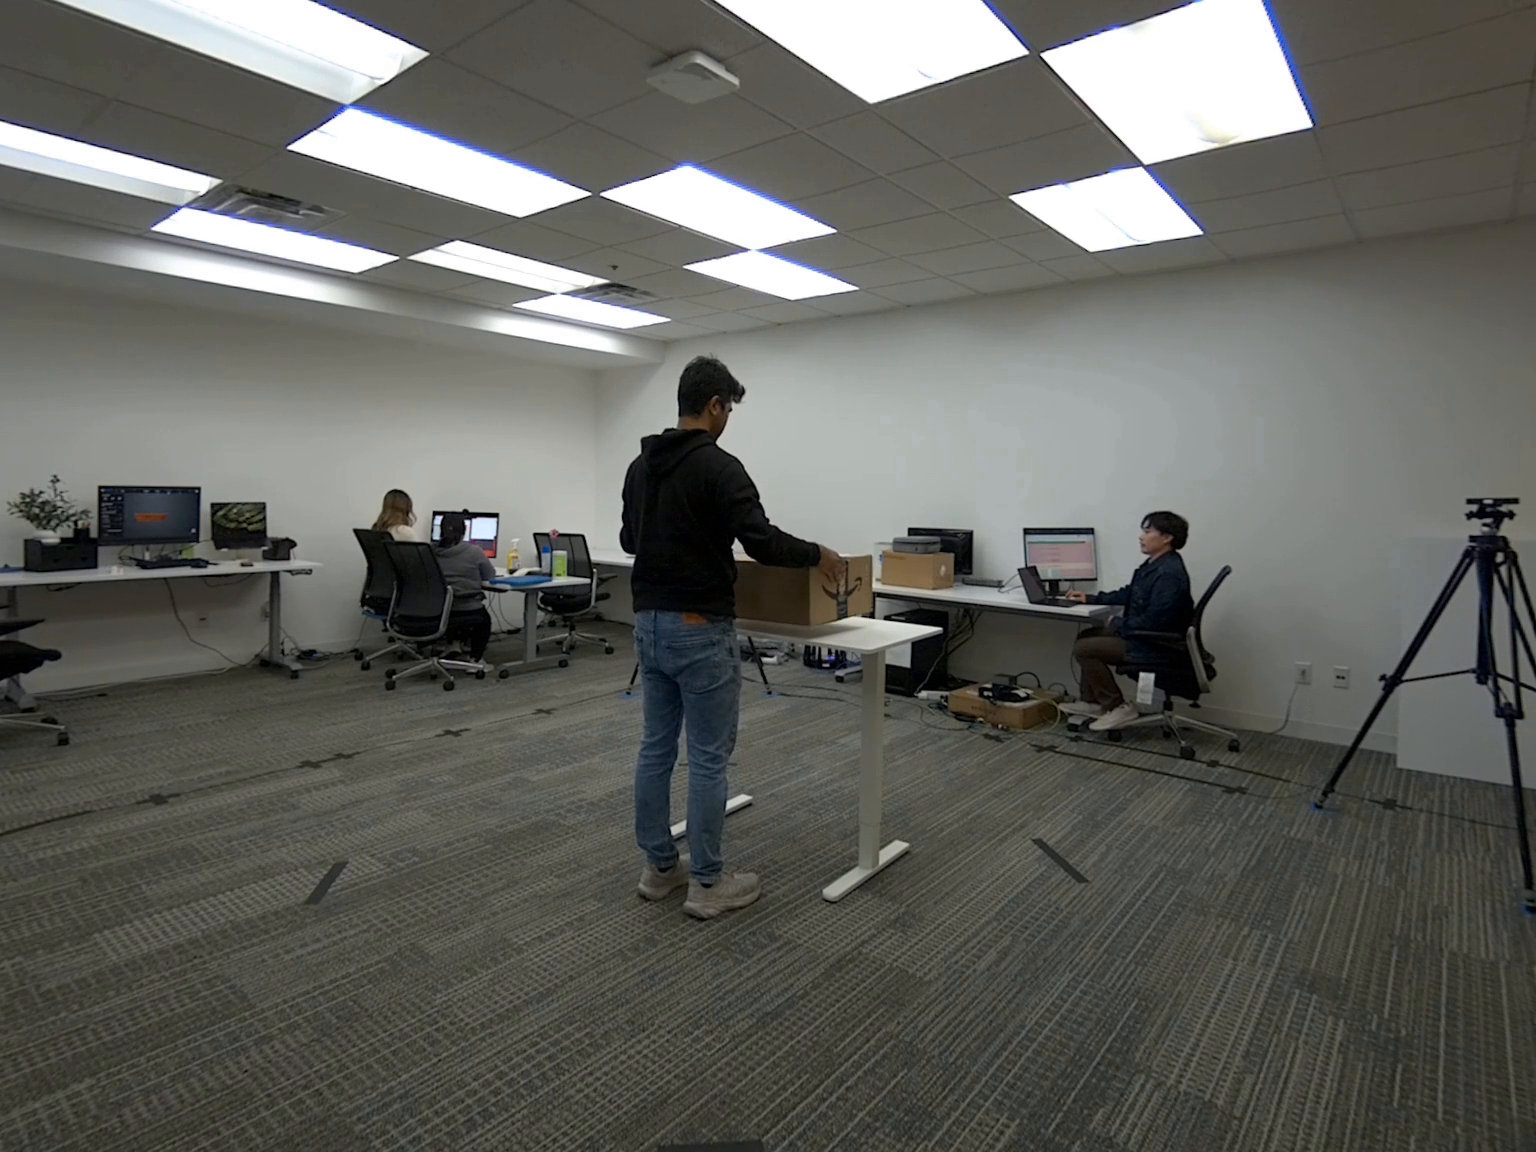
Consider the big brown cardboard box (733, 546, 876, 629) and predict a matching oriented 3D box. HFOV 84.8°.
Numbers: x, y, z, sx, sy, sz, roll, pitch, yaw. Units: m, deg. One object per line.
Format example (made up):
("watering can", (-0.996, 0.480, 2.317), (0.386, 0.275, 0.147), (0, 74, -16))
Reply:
("big brown cardboard box", (0.036, 0.023, 3.180), (0.608, 0.232, 0.406), (3, 8, 39))
